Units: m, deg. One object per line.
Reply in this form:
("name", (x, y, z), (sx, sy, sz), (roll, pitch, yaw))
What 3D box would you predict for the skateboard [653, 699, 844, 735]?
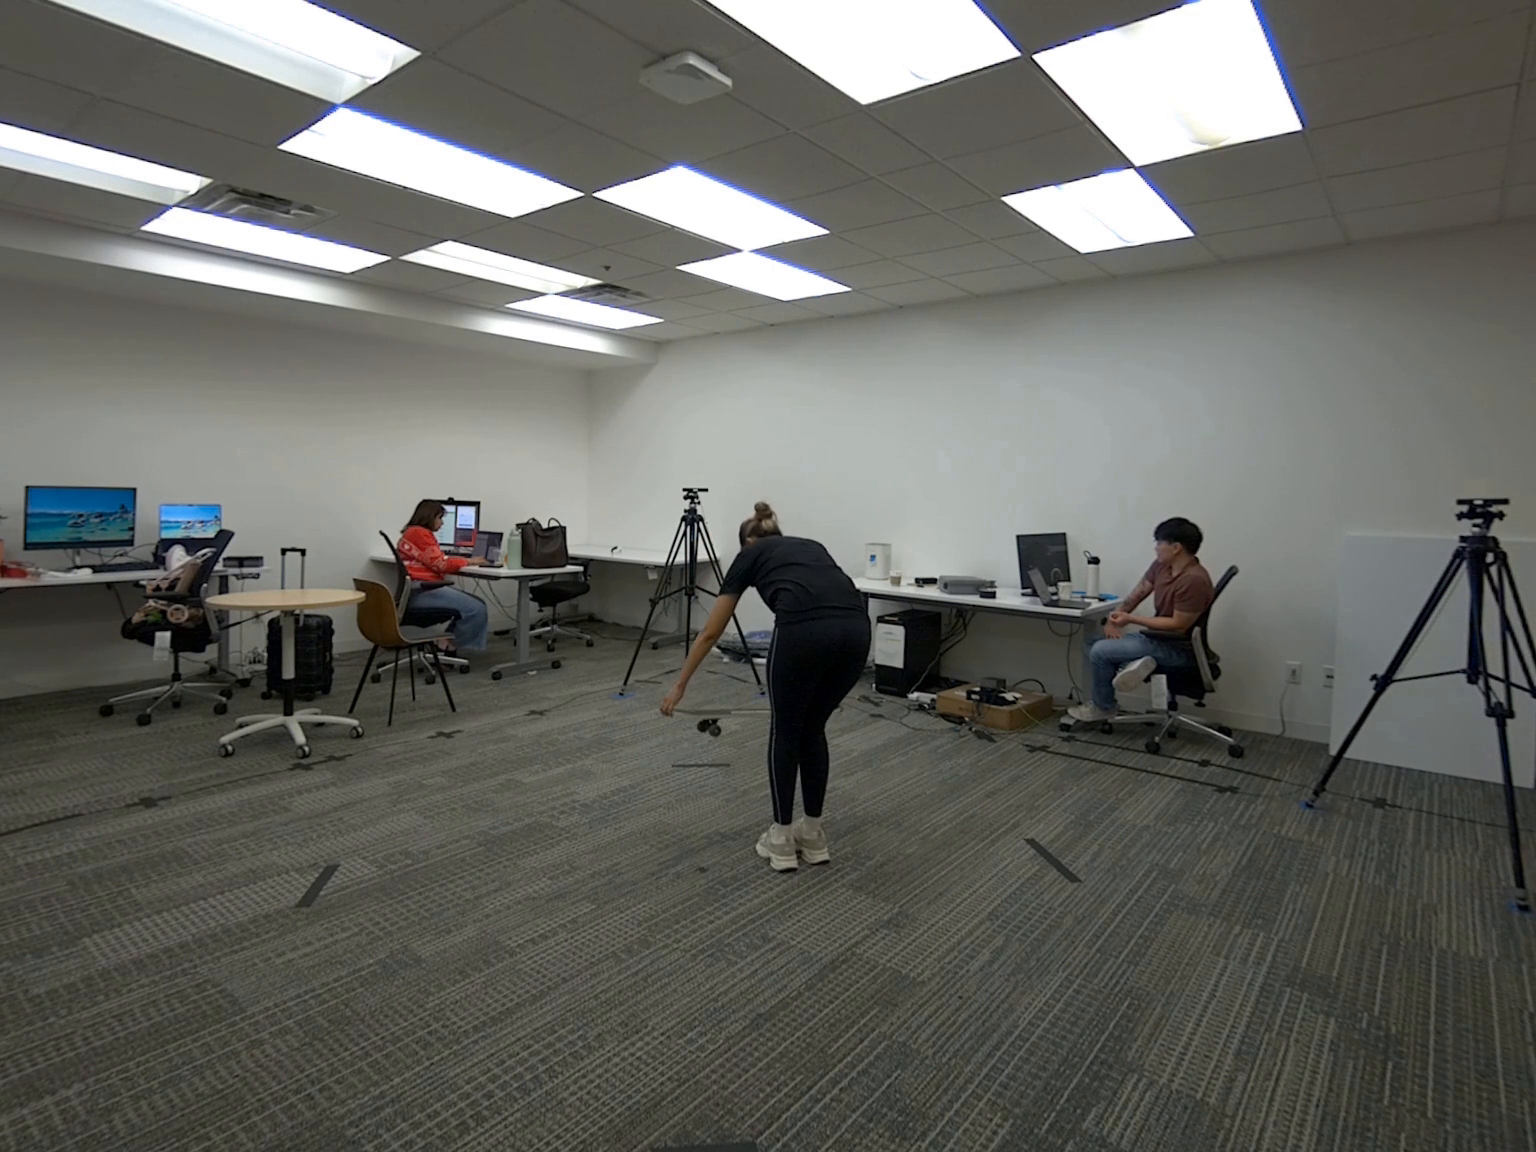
("skateboard", (-0.080, 0.590, 3.562), (0.770, 0.111, 0.196), (2, -4, -19))
